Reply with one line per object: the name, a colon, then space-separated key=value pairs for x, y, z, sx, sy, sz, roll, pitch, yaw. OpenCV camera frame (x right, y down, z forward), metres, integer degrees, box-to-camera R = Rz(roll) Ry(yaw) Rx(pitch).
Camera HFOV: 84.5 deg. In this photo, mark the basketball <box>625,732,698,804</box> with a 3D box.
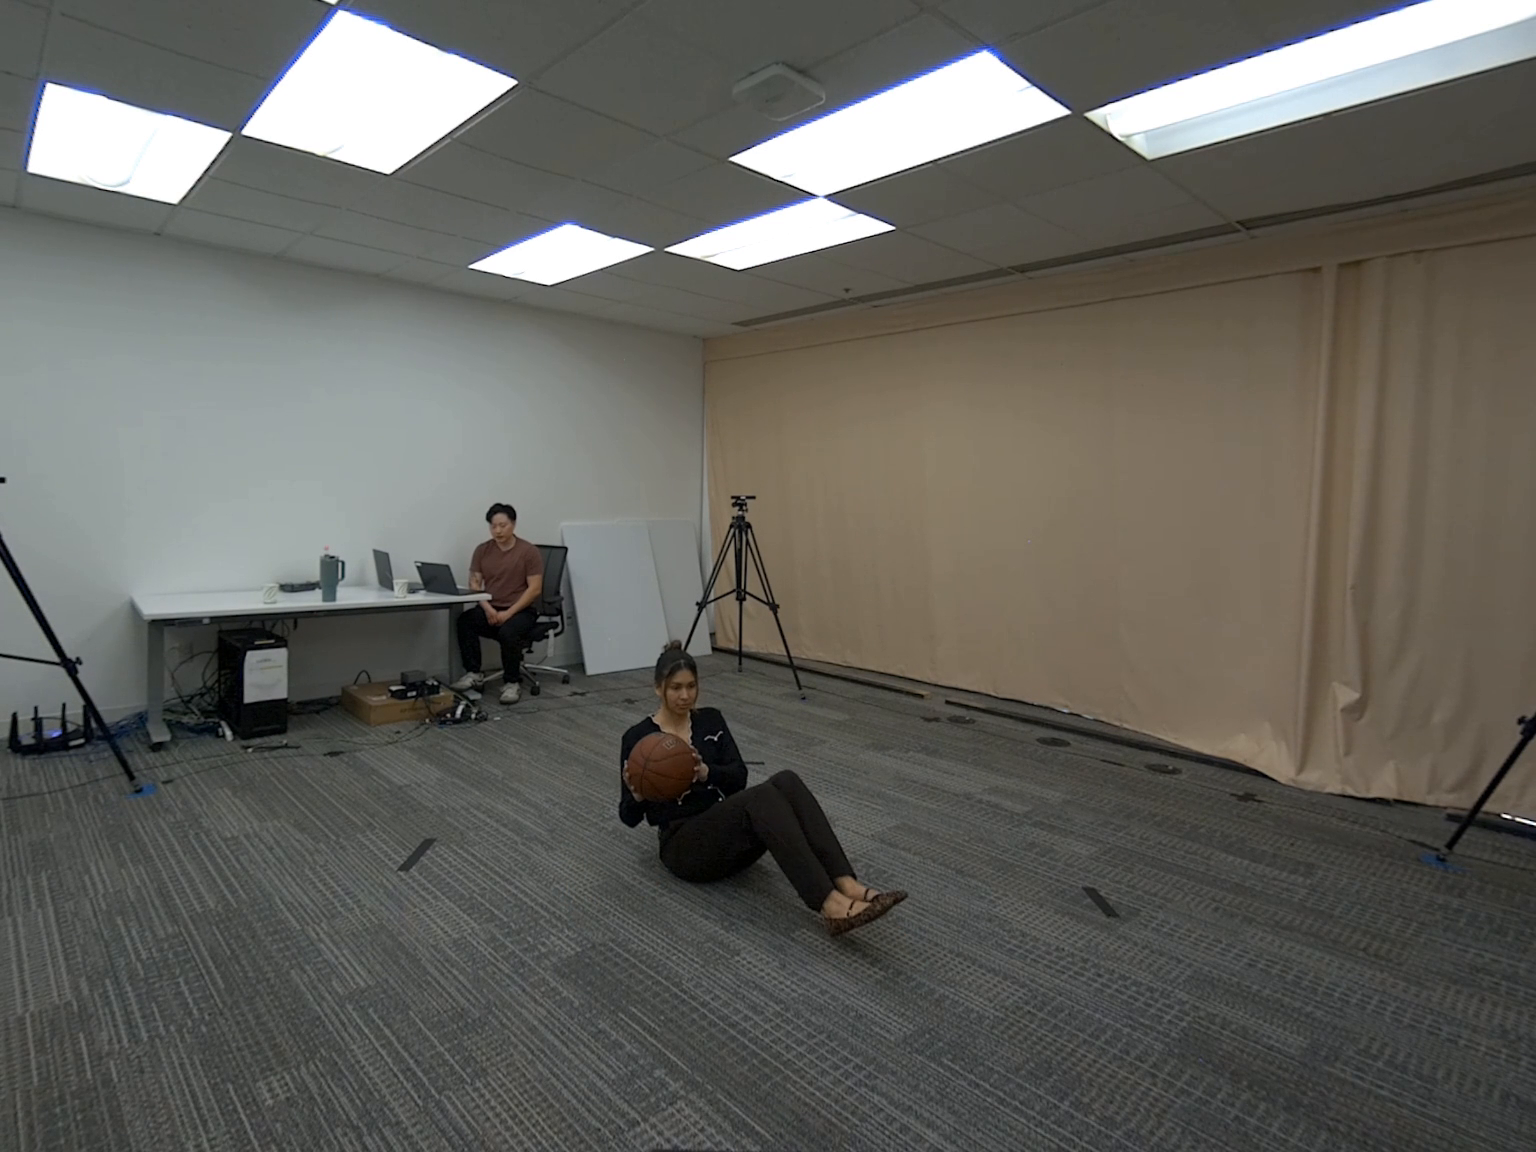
basketball: x=-0.388 y=0.664 z=2.930 sx=0.236 sy=0.235 sz=0.237 roll=1 pitch=4 yaw=-1
